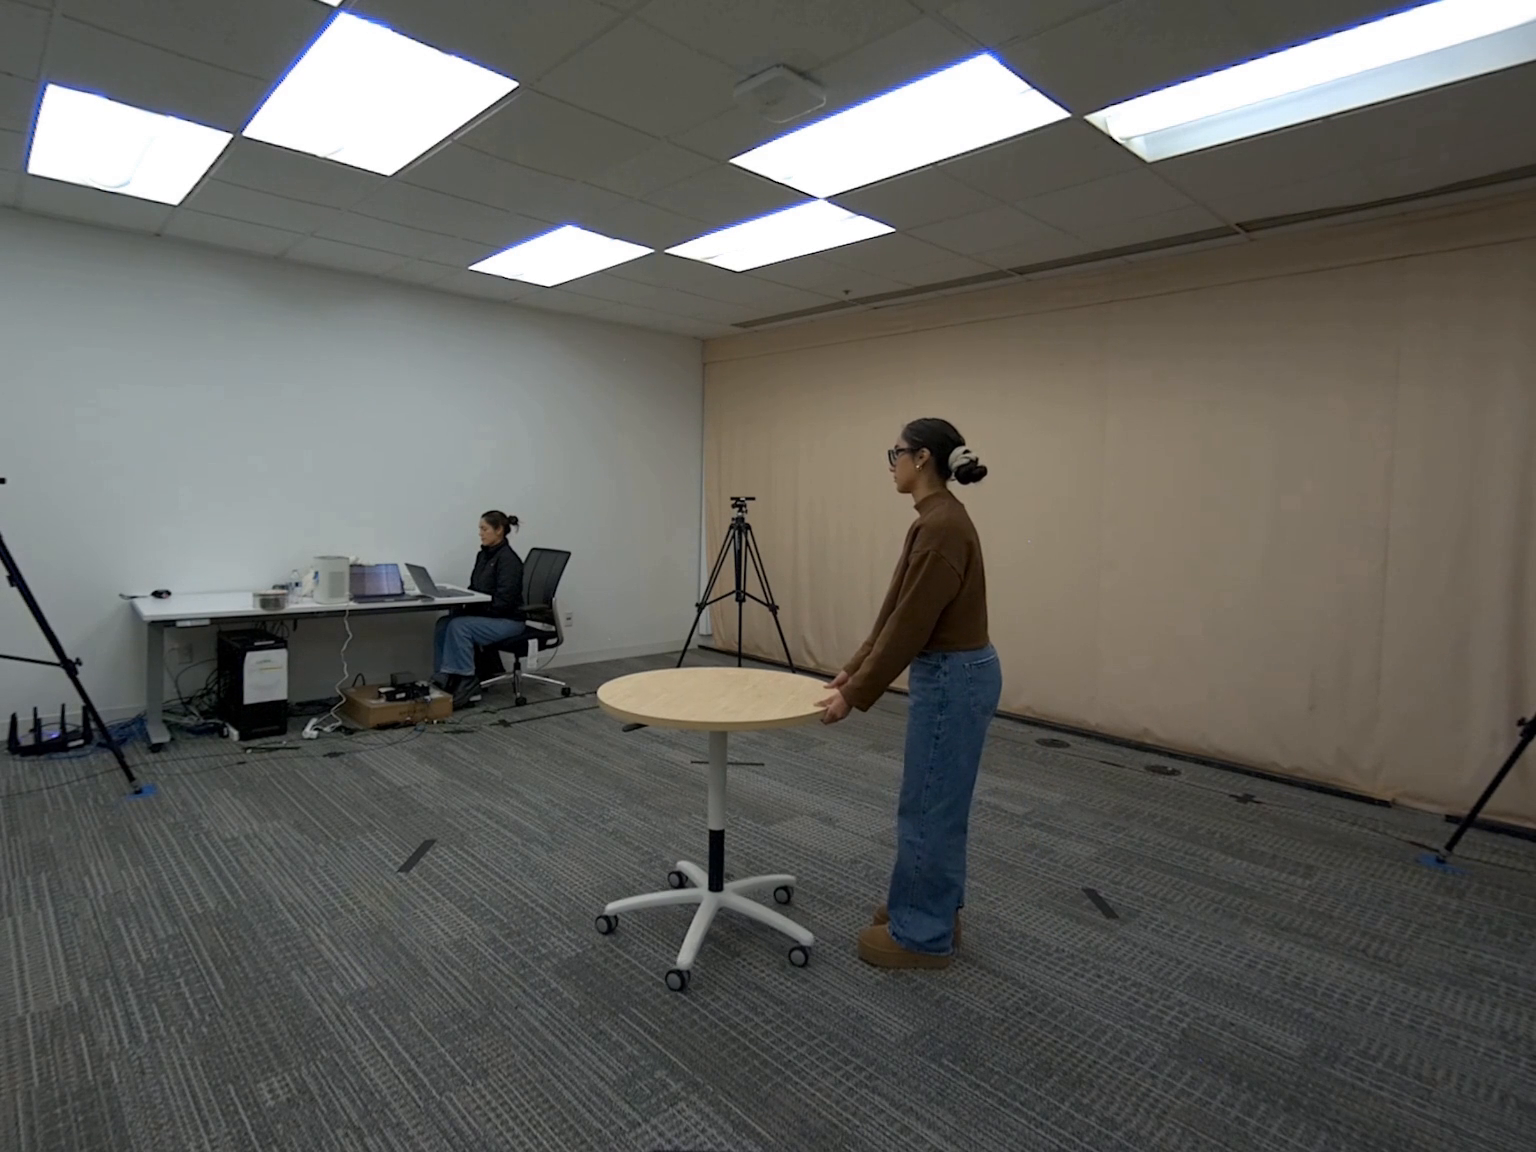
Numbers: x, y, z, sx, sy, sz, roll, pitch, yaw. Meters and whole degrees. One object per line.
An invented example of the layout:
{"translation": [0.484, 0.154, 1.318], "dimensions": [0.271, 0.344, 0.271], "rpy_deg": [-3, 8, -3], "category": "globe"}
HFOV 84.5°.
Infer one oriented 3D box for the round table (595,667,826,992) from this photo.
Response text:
{"translation": [-0.166, 0.755, 2.683], "dimensions": [0.763, 0.792, 0.766], "rpy_deg": [1, 4, -1], "category": "round table"}
